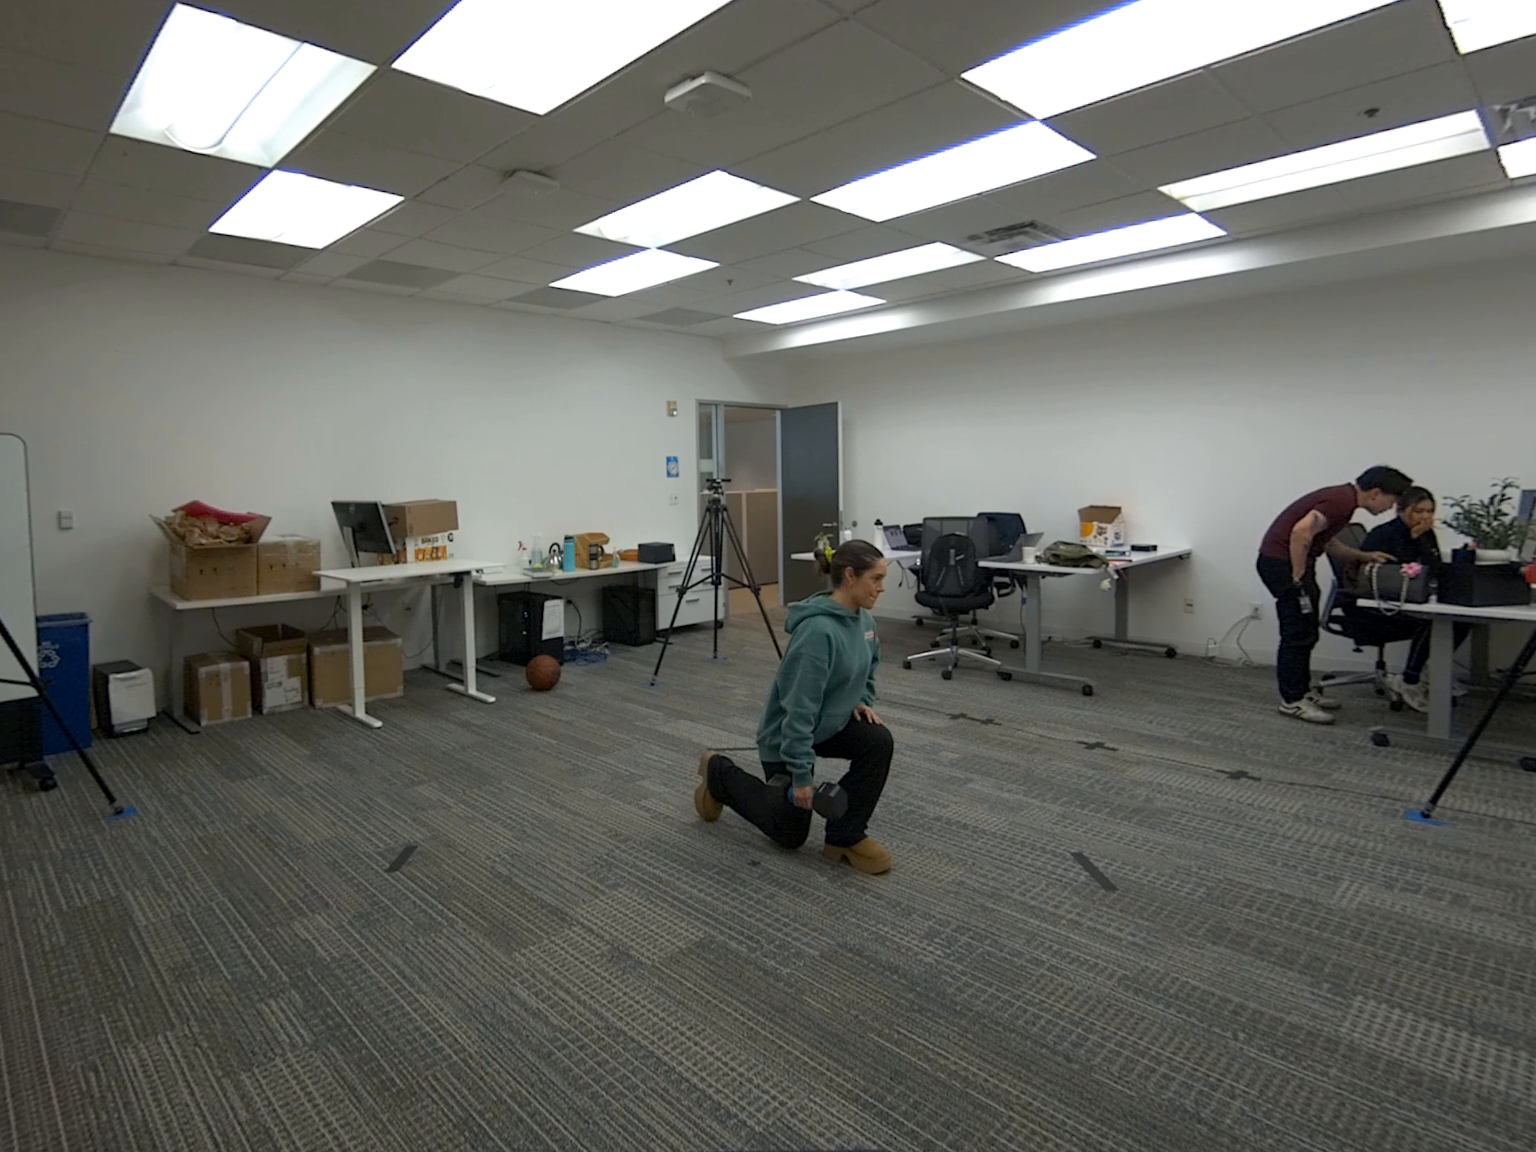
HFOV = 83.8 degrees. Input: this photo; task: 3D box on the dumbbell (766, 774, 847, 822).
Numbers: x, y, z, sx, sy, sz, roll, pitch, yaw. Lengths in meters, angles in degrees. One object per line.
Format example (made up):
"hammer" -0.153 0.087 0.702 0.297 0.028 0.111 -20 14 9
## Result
"dumbbell" 0.138 0.769 2.993 0.302 0.110 0.118 -1 -34 41
